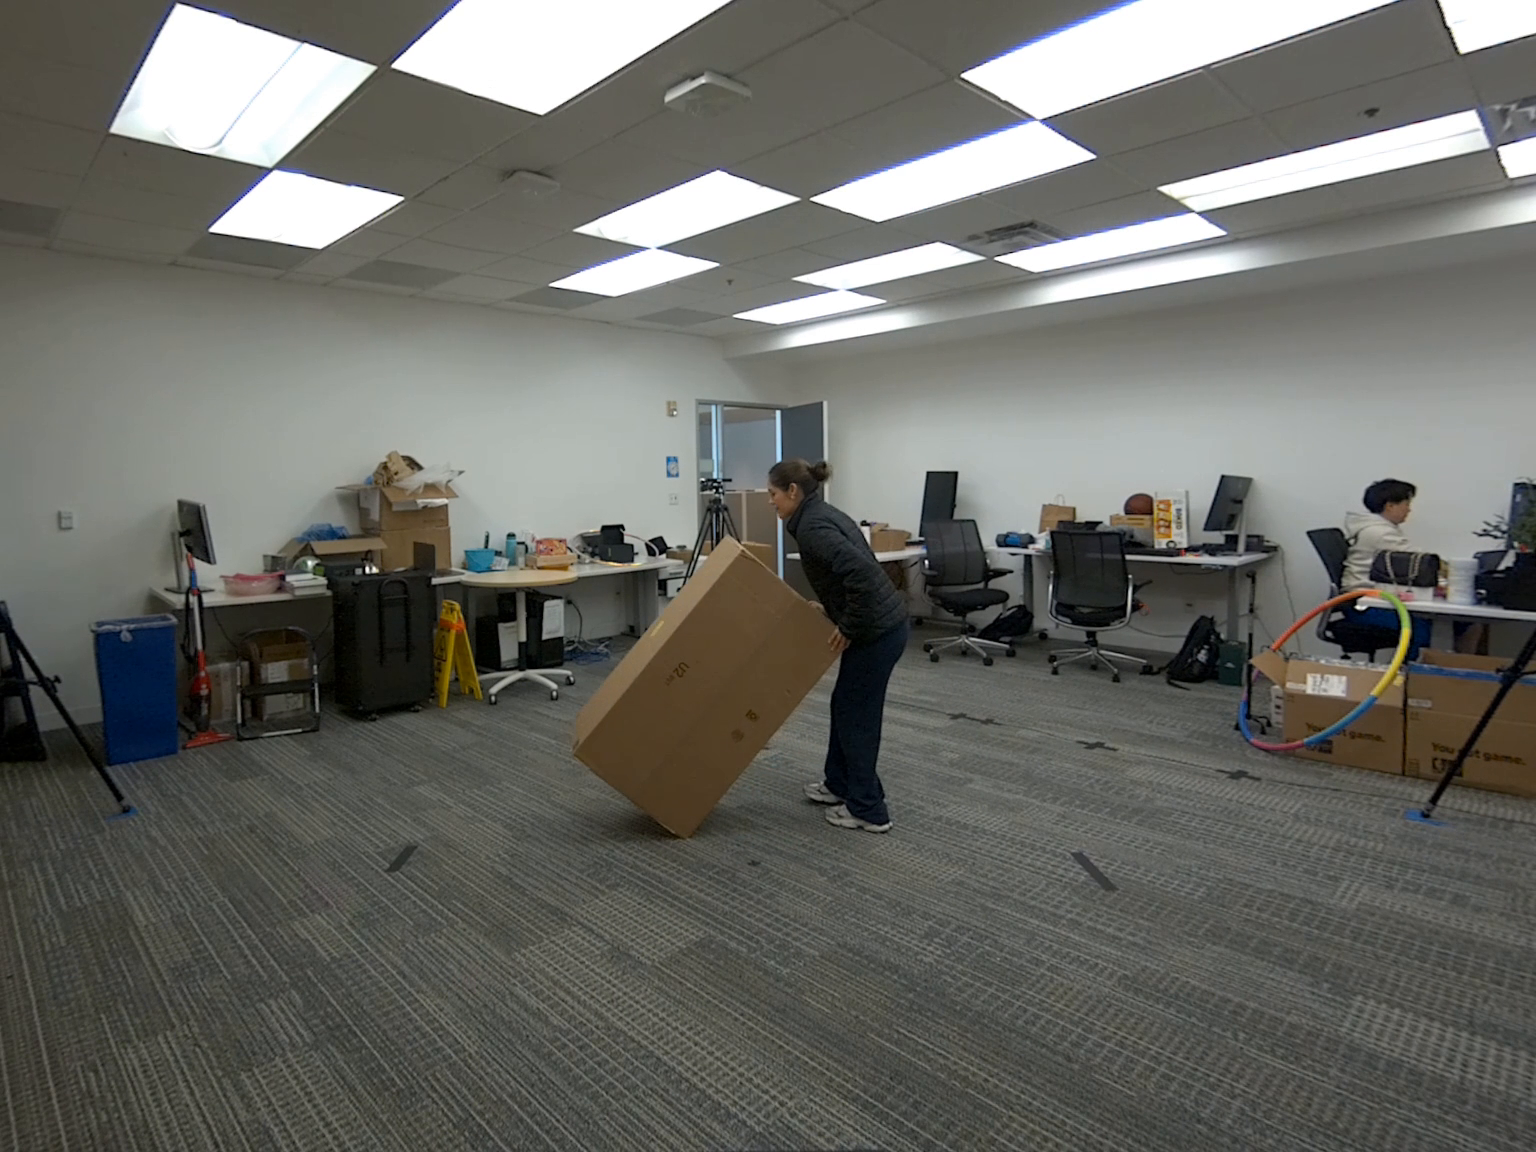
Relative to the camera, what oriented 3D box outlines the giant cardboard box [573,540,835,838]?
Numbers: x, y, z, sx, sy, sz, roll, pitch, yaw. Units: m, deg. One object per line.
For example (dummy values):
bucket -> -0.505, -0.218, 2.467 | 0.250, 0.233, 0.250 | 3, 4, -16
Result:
giant cardboard box -> -0.265, 0.430, 3.480 | 0.576, 1.027, 0.453 | 39, 0, -11
